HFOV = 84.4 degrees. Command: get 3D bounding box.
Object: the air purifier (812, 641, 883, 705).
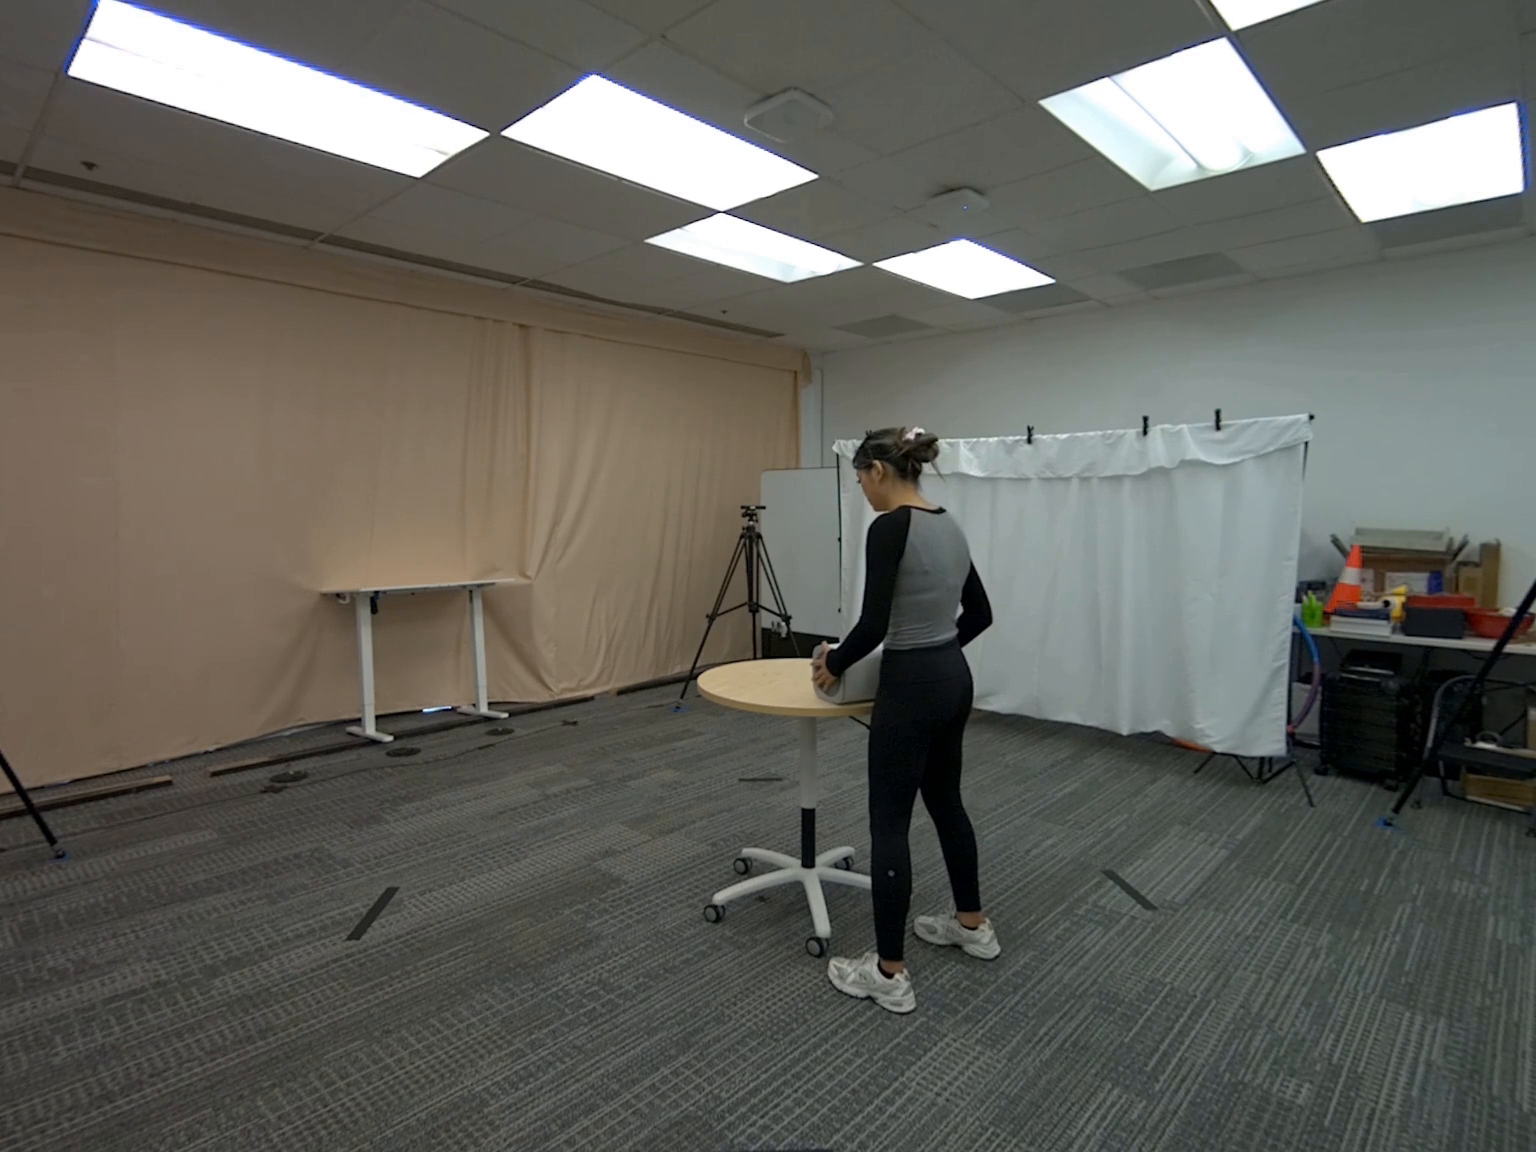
[{"bbox_3d":[0.299,0.296,2.641,0.258,0.171,0.176,-3,4,-29],"label":"air purifier"}]
